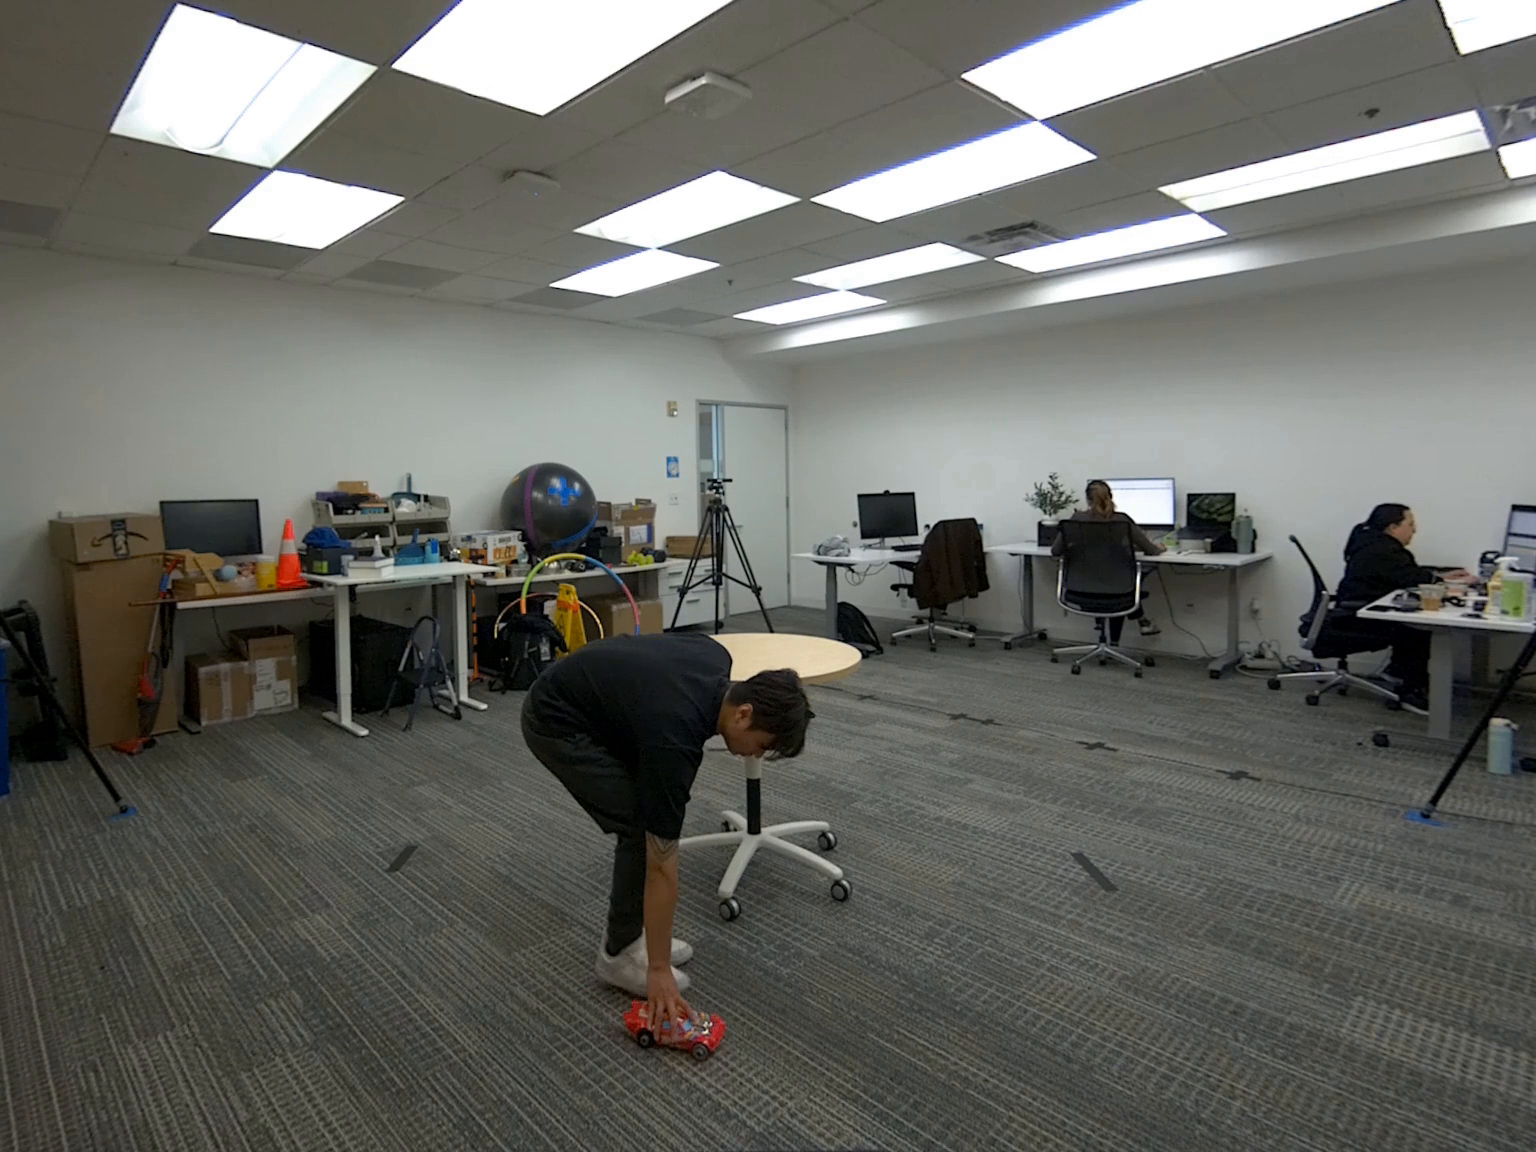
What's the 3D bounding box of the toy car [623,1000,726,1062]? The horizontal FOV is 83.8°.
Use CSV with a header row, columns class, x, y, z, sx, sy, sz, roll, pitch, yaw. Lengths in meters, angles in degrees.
class,x,y,z,sx,sy,sz,roll,pitch,yaw
toy car,-0.234,1.134,2.143,0.259,0.083,0.128,10,8,17
